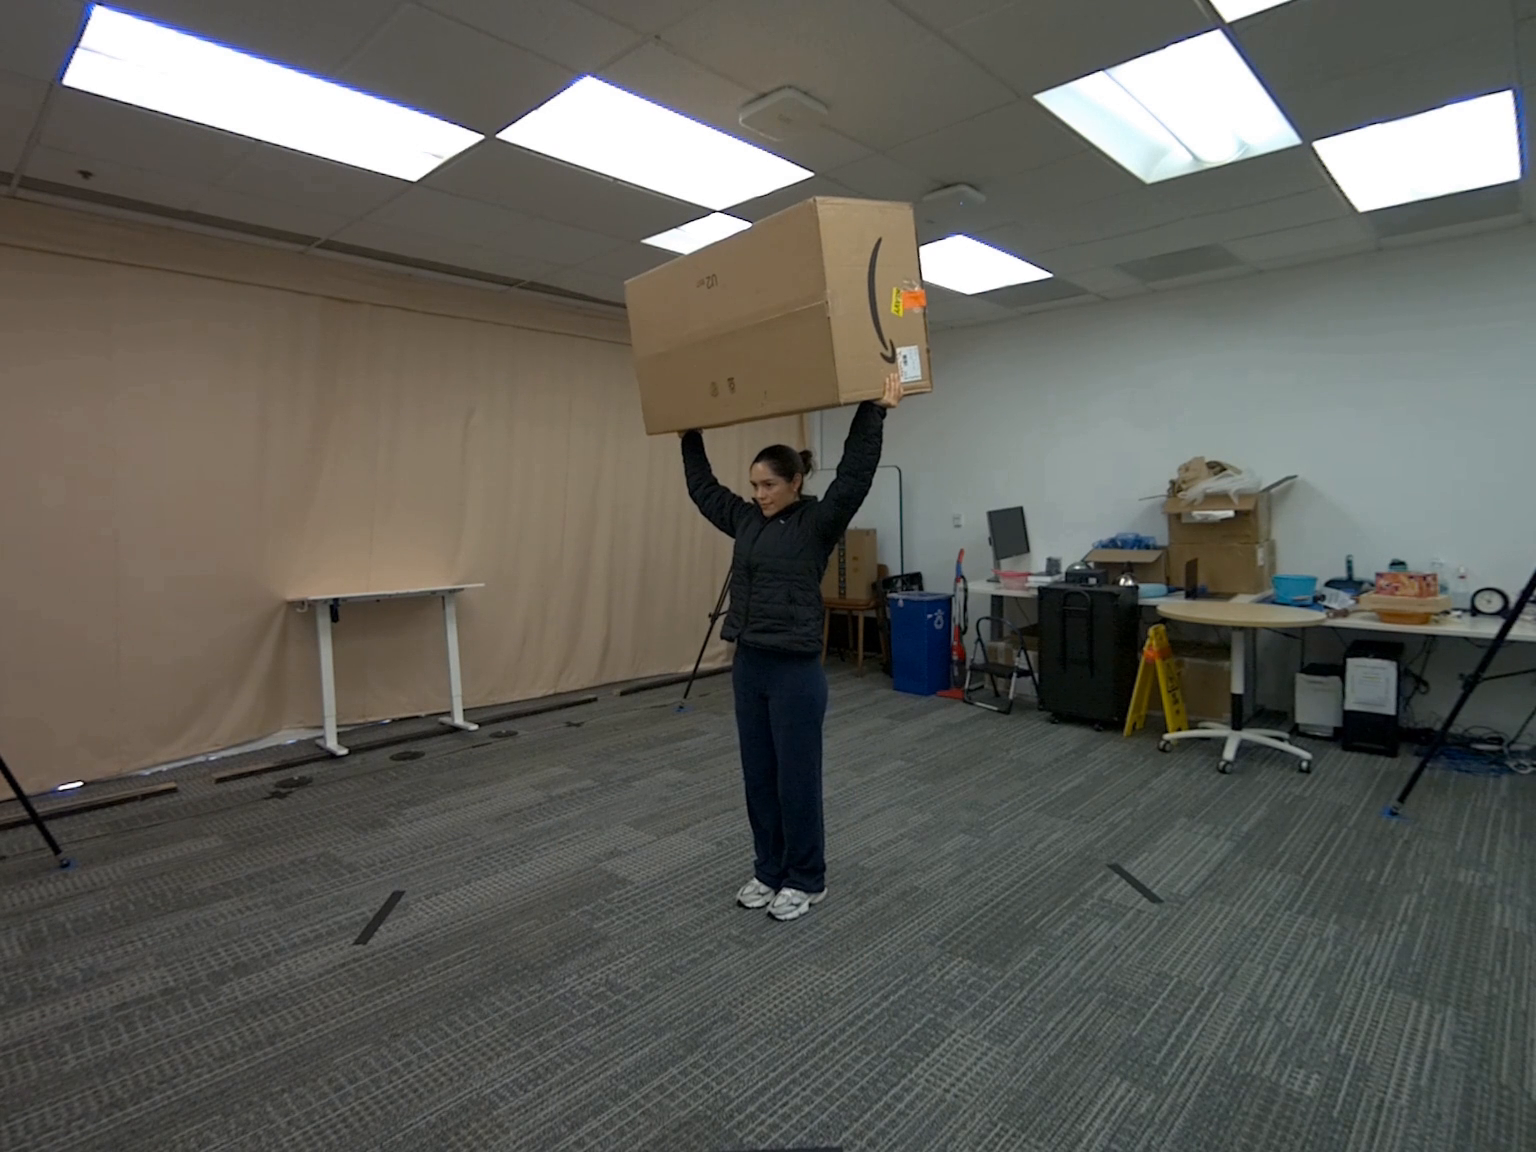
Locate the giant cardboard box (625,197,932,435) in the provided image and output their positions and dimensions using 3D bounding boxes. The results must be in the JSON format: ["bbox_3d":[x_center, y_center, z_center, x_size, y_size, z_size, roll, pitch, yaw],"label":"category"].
[{"bbox_3d":[0.007,-0.827,2.877,0.435,0.580,1.060,-13,10,-39],"label":"giant cardboard box"}]
